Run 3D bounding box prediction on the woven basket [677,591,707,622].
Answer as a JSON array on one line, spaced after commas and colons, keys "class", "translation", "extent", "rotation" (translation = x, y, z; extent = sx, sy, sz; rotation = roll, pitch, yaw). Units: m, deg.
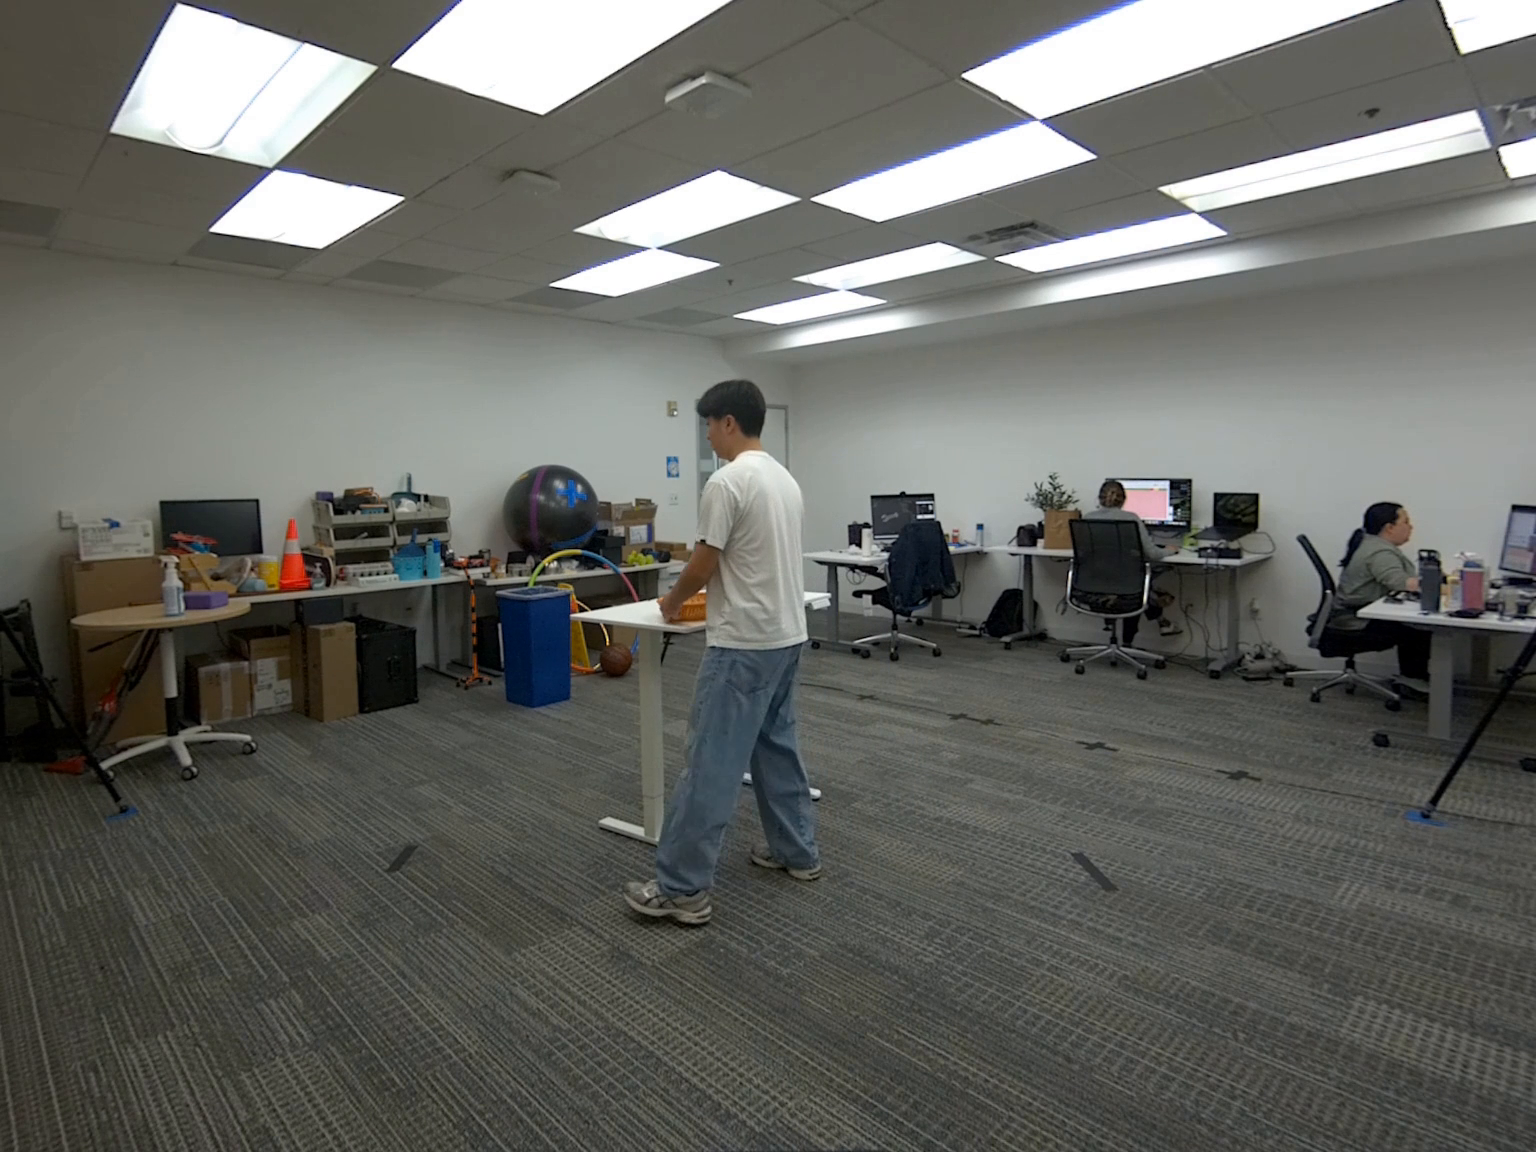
[{"class": "woven basket", "translation": [-0.247, 0.121, 3.242], "extent": [0.260, 0.073, 0.342], "rotation": [2, 8, 38]}]
